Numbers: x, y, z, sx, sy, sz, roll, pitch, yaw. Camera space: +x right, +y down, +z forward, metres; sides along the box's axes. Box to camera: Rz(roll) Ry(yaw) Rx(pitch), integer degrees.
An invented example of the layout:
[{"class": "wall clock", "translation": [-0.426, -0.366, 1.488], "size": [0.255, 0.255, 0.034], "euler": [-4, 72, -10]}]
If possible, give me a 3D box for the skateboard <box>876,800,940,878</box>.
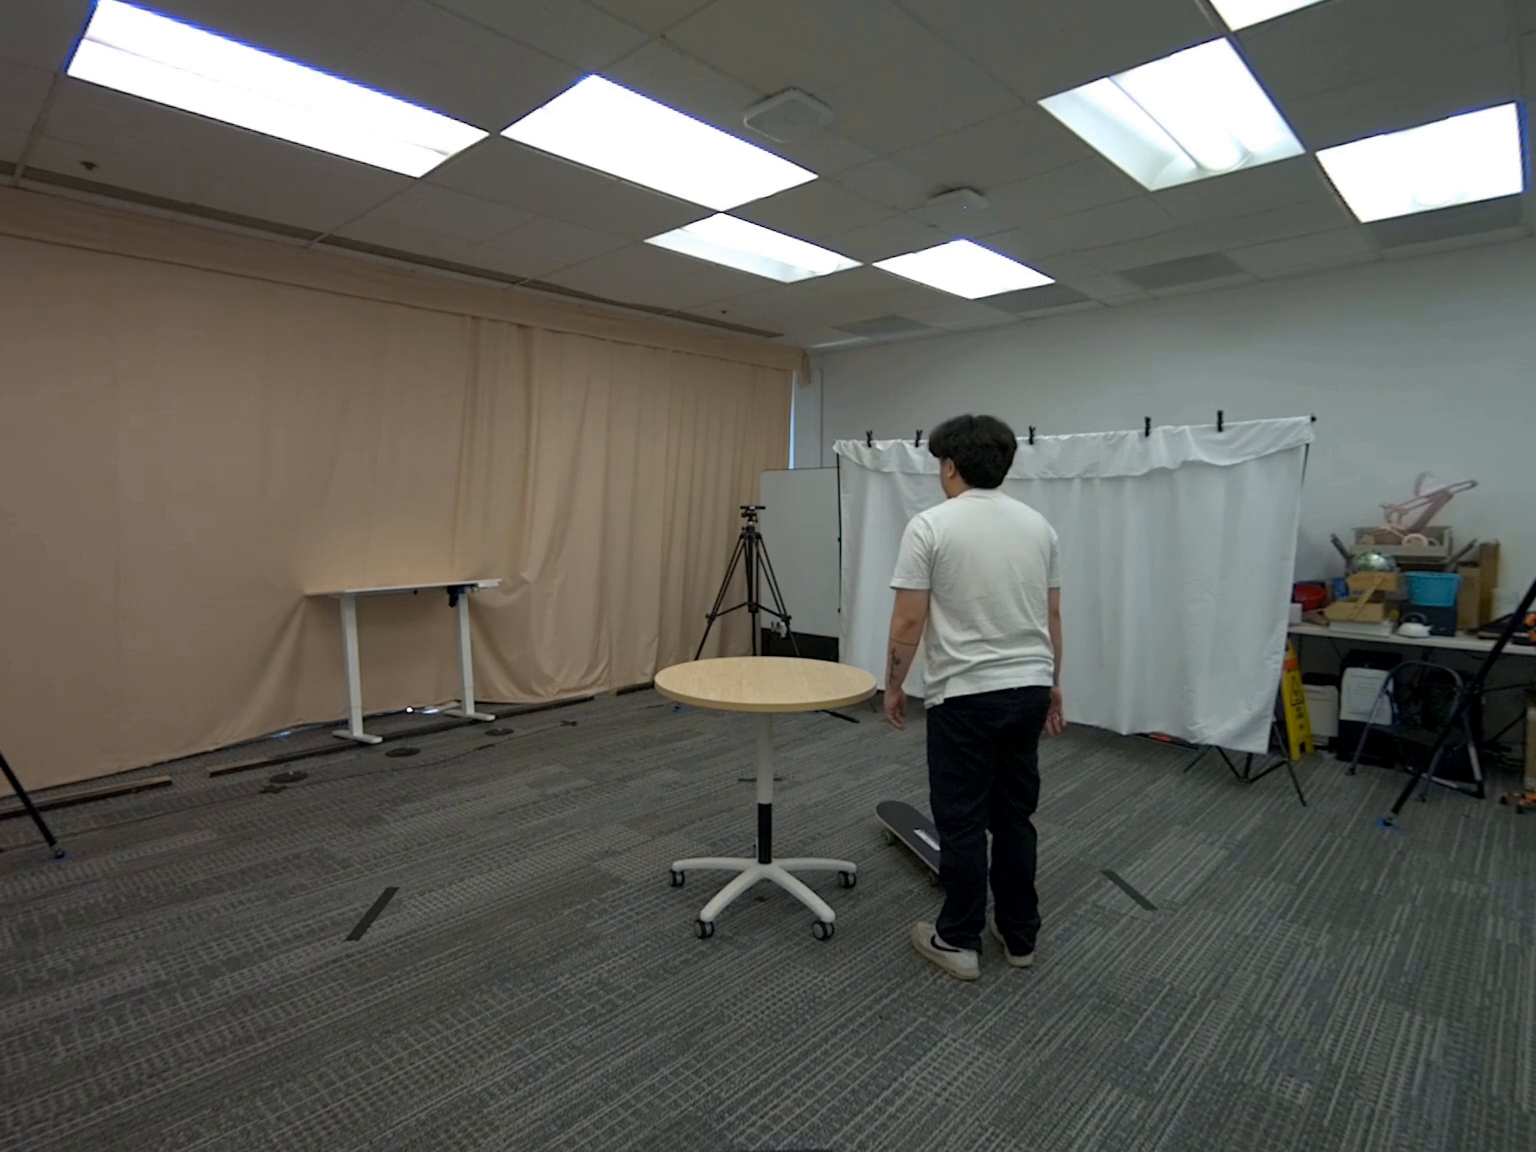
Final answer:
[{"class": "skateboard", "translation": [0.628, 1.059, 3.285], "size": [0.191, 0.110, 0.798], "euler": [-1, 5, -15]}]
